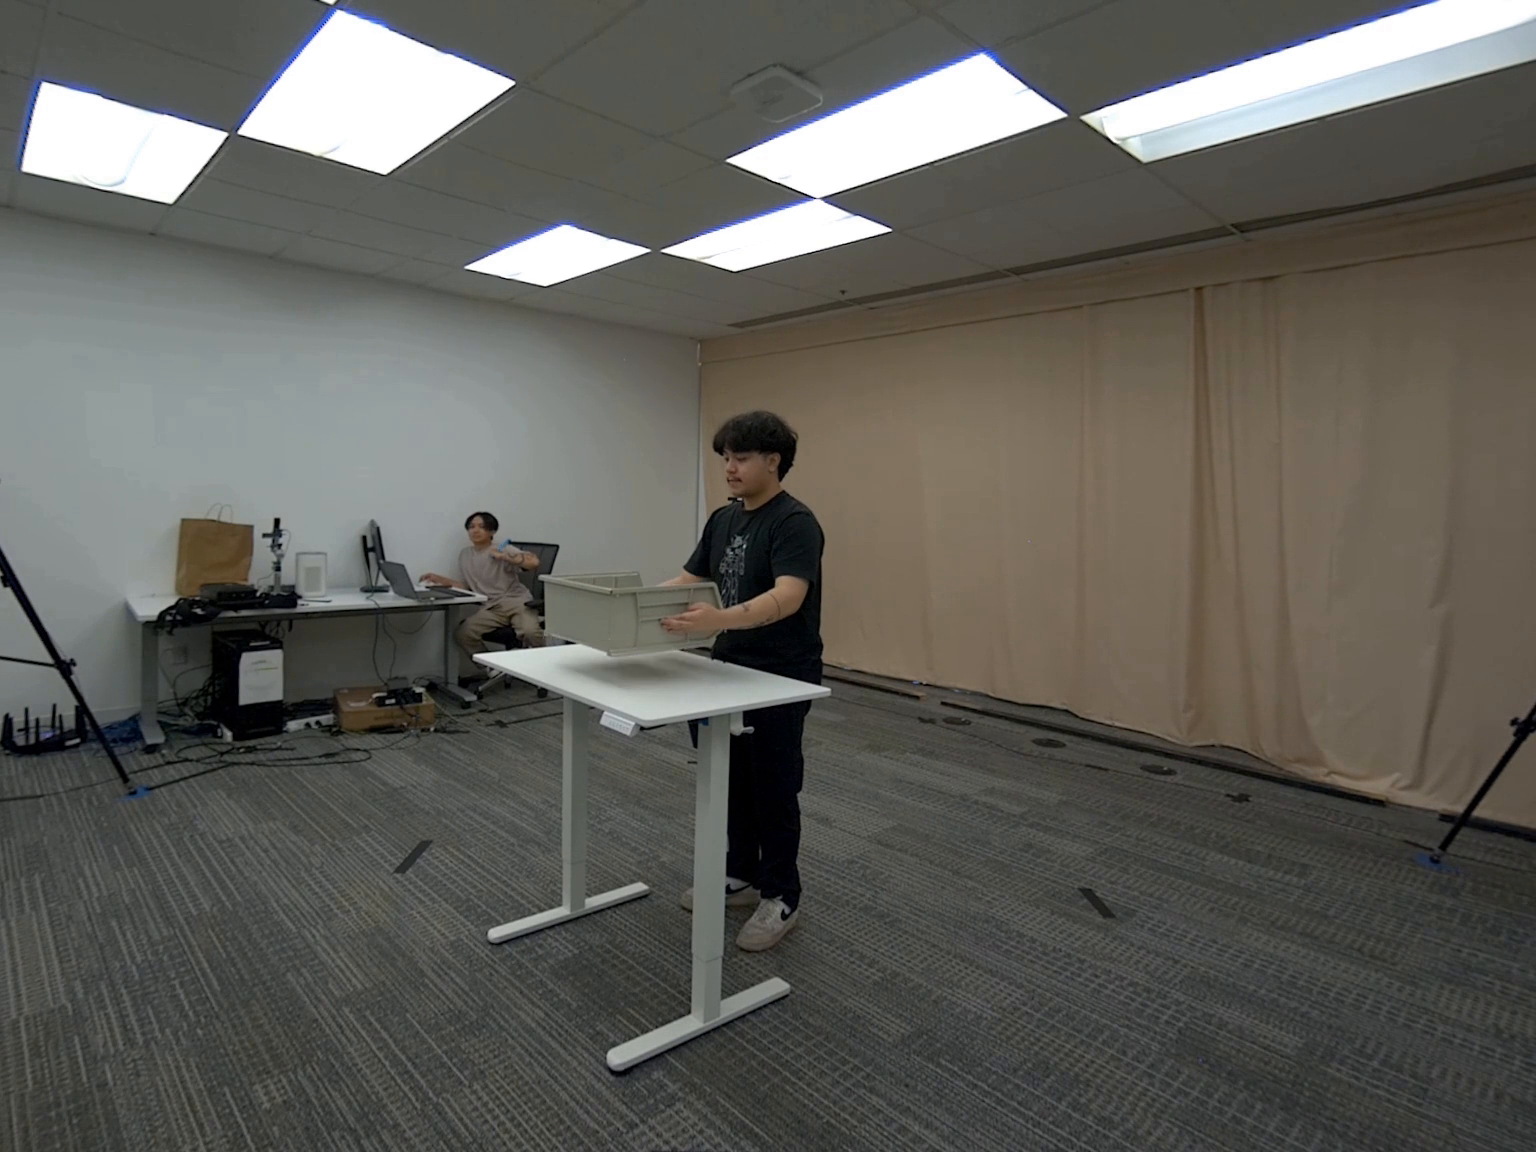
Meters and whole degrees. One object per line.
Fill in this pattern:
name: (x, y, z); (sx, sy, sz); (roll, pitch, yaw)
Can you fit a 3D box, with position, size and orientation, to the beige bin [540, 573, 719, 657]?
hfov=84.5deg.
beige bin: (-0.420, 0.102, 2.436); (0.369, 0.188, 0.433); (-5, 8, -38)
